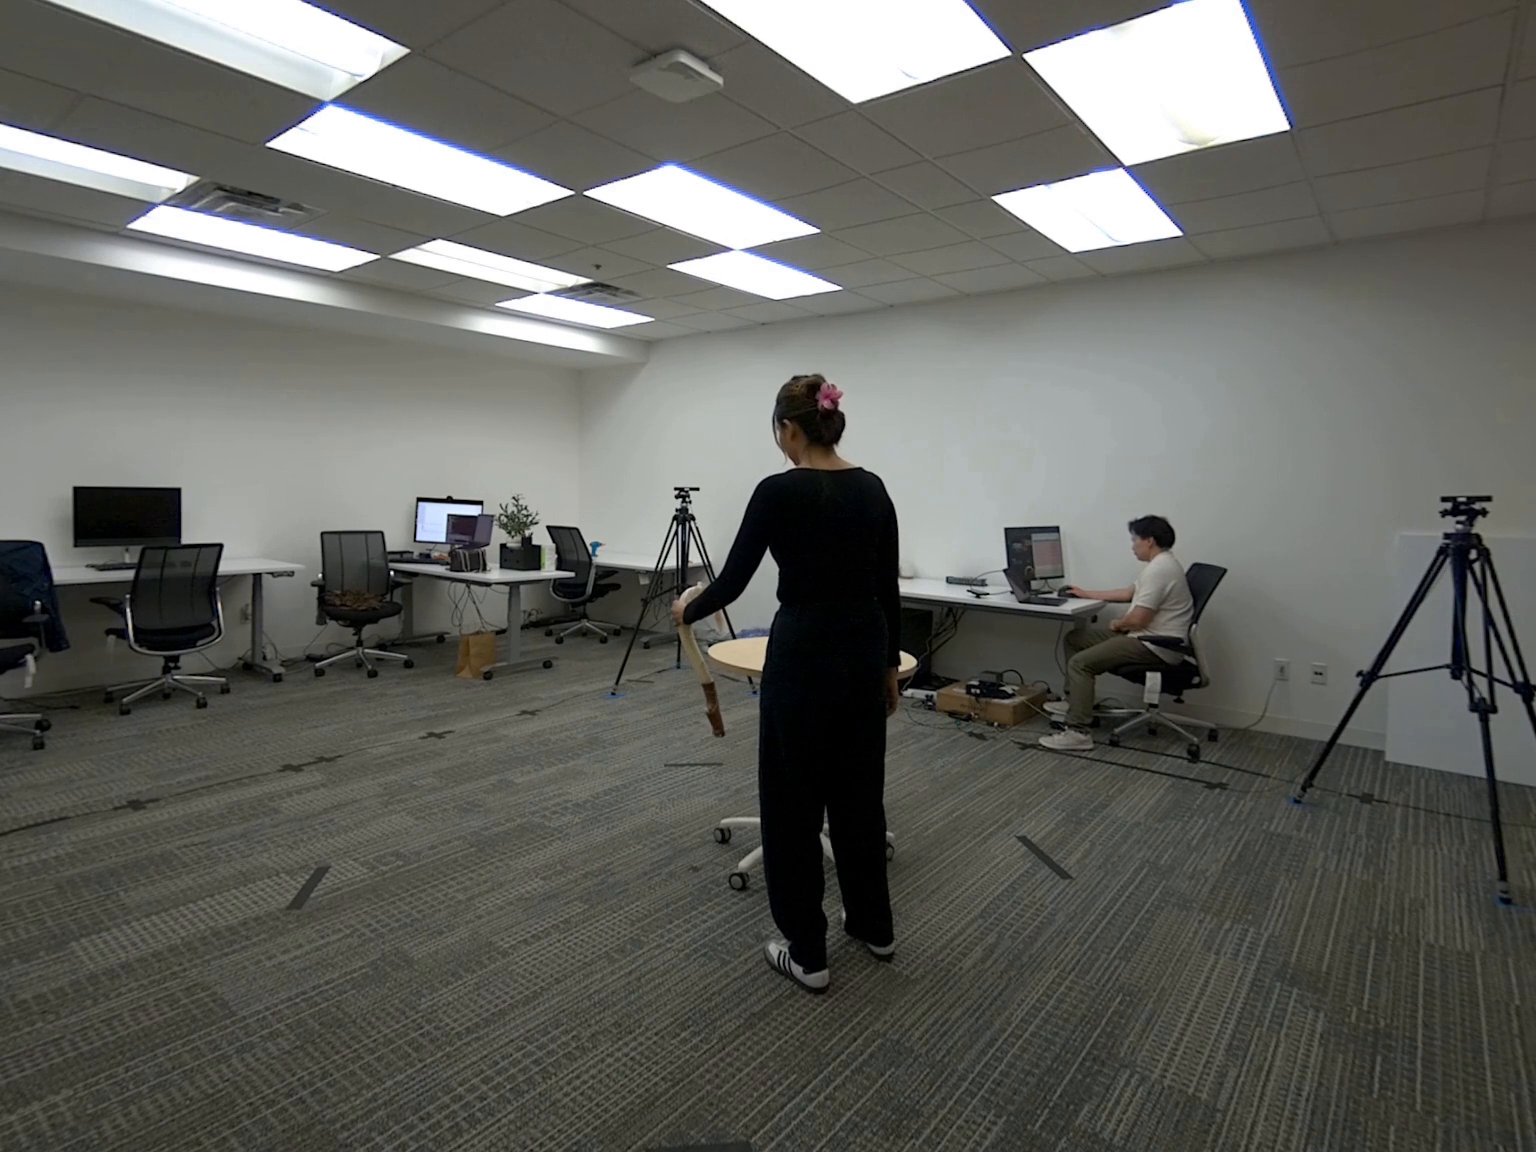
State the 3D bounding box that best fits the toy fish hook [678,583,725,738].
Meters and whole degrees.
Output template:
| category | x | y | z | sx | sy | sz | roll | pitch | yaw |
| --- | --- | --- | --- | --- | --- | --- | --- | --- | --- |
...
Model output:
| category | x | y | z | sx | sy | sz | roll | pitch | yaw |
| --- | --- | --- | --- | --- | --- | --- | --- | --- | --- |
| toy fish hook | -0.193 | 0.271 | 2.781 | 0.050 | 0.499 | 0.221 | -1 | 17 | 40 |
